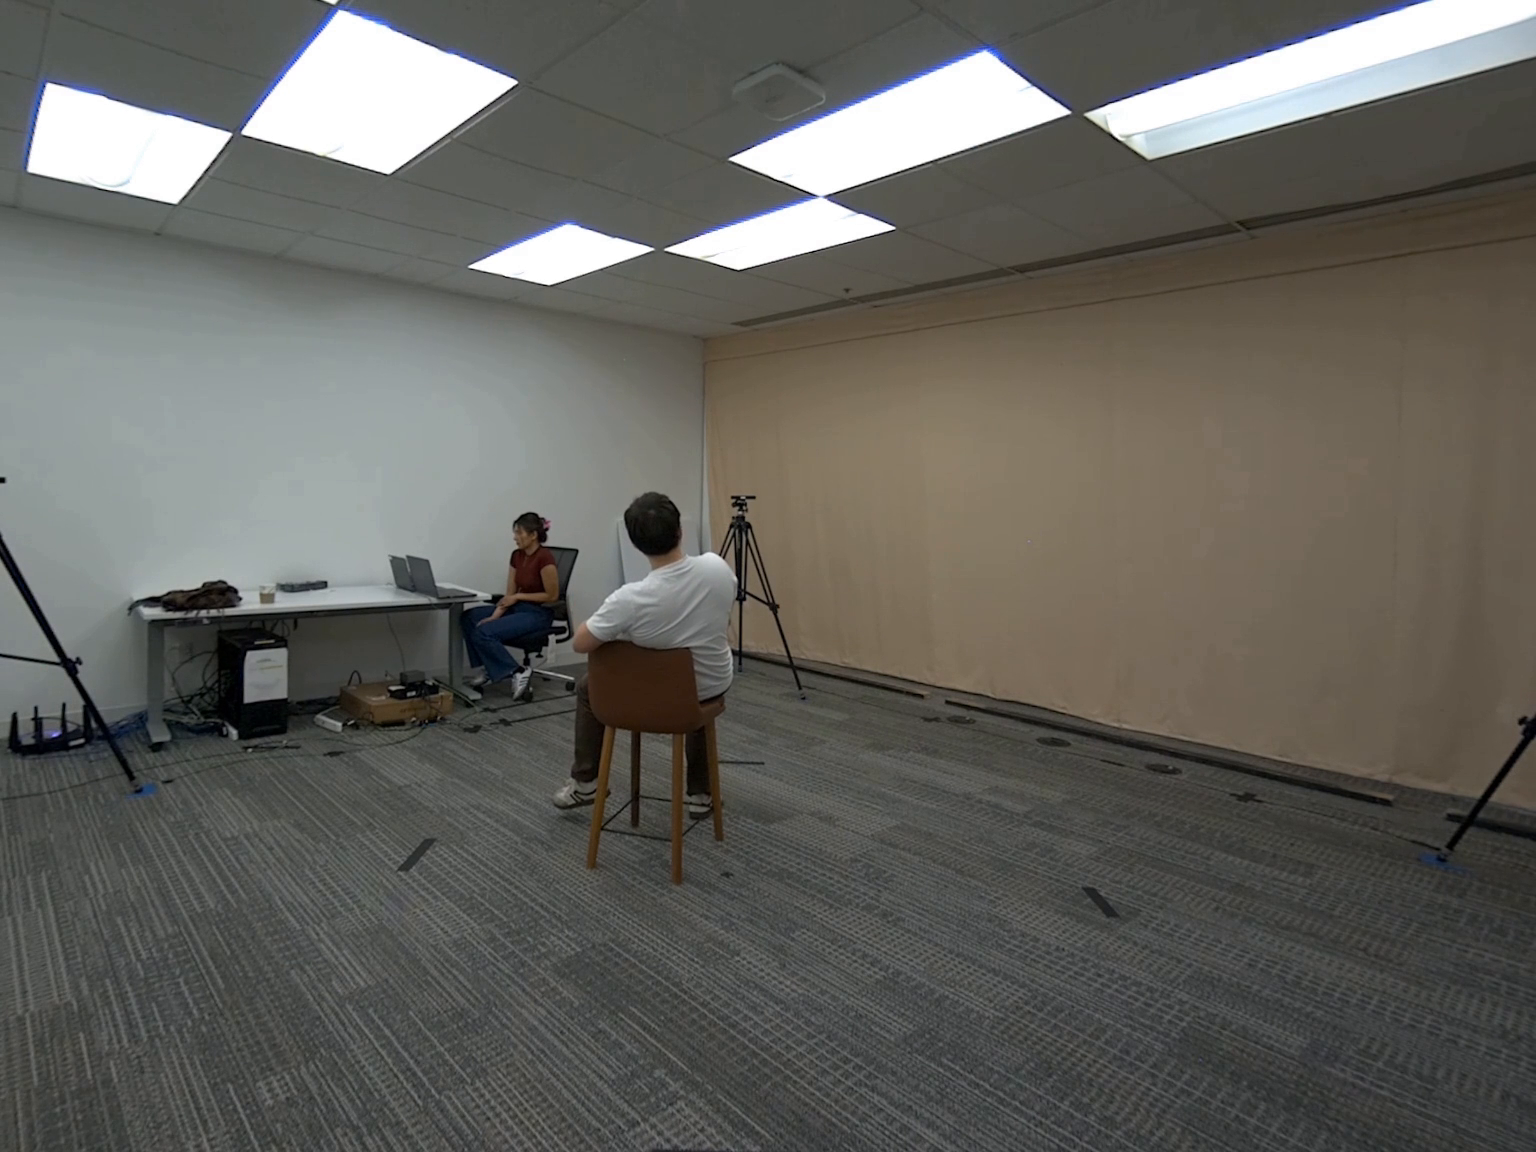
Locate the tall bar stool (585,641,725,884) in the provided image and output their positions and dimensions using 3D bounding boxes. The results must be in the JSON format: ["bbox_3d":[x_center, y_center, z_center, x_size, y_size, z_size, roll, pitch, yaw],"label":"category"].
[{"bbox_3d":[-0.439,0.655,3.257,0.463,0.887,0.462,2,5,18],"label":"tall bar stool"}]
